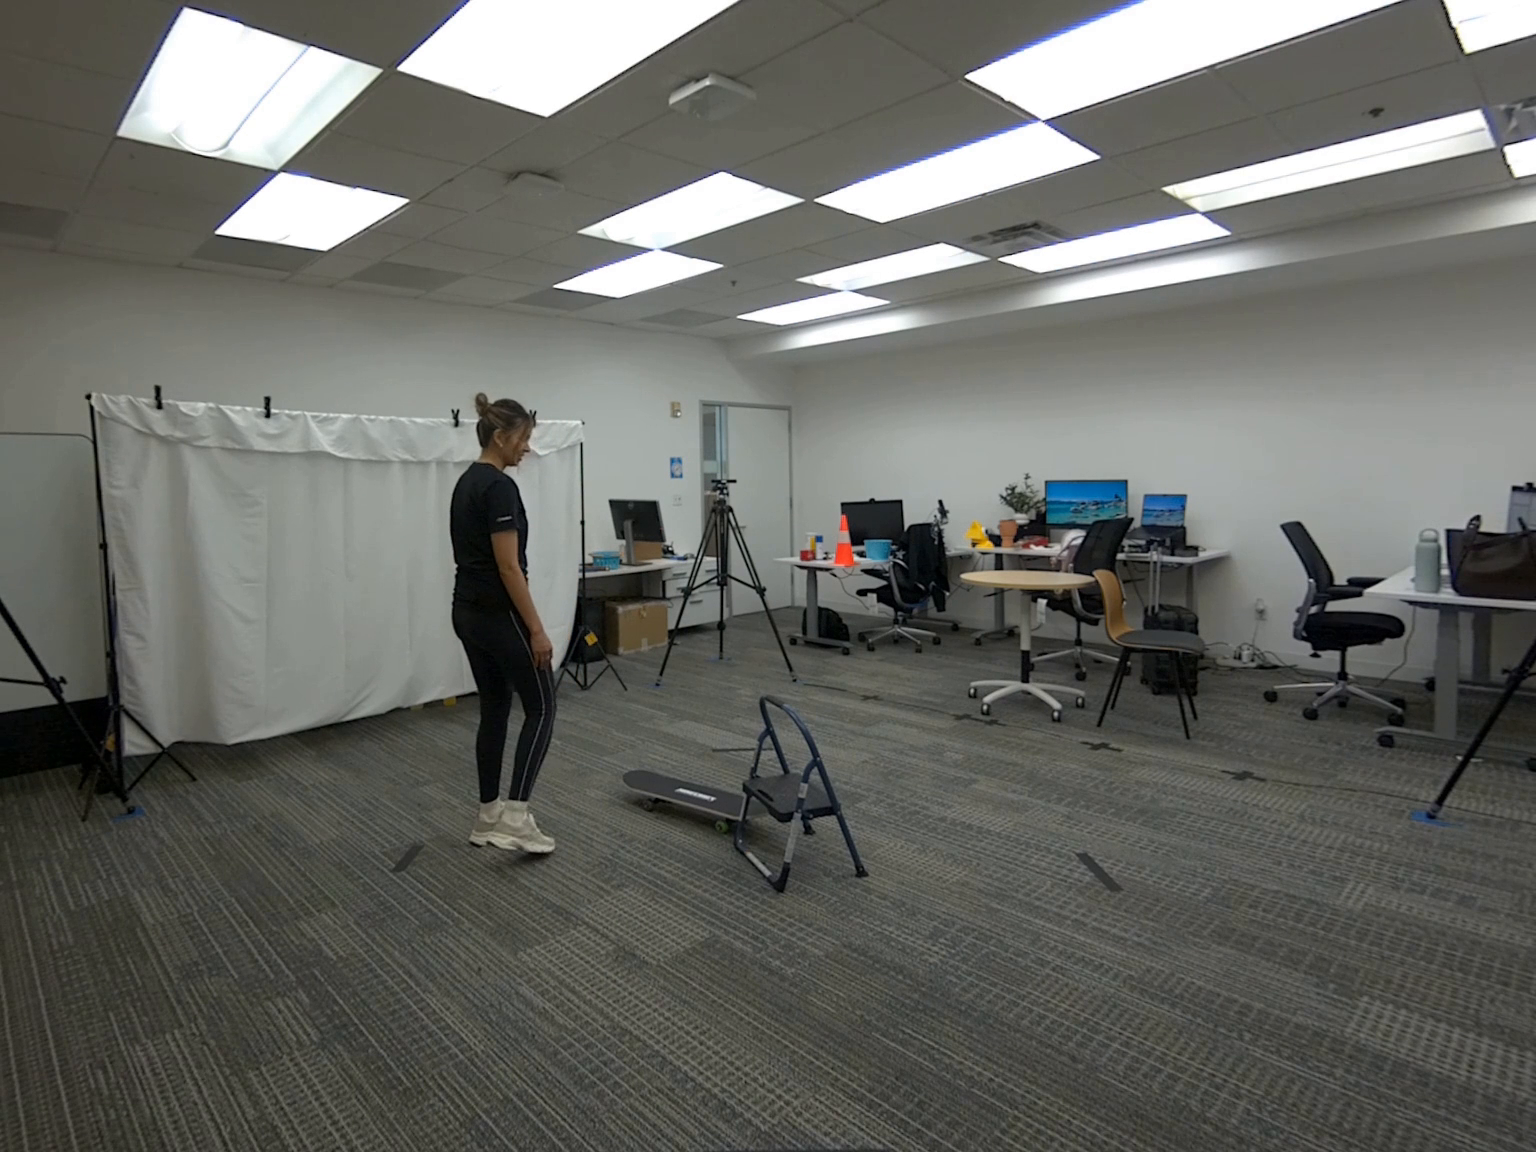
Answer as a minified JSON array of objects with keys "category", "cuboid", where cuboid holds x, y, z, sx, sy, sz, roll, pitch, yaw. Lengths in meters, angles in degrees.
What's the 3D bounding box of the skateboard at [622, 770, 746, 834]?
[{"category":"skateboard","cuboid":[-0.300,0.945,3.574,0.808,0.110,0.189,4,8,36]}]
